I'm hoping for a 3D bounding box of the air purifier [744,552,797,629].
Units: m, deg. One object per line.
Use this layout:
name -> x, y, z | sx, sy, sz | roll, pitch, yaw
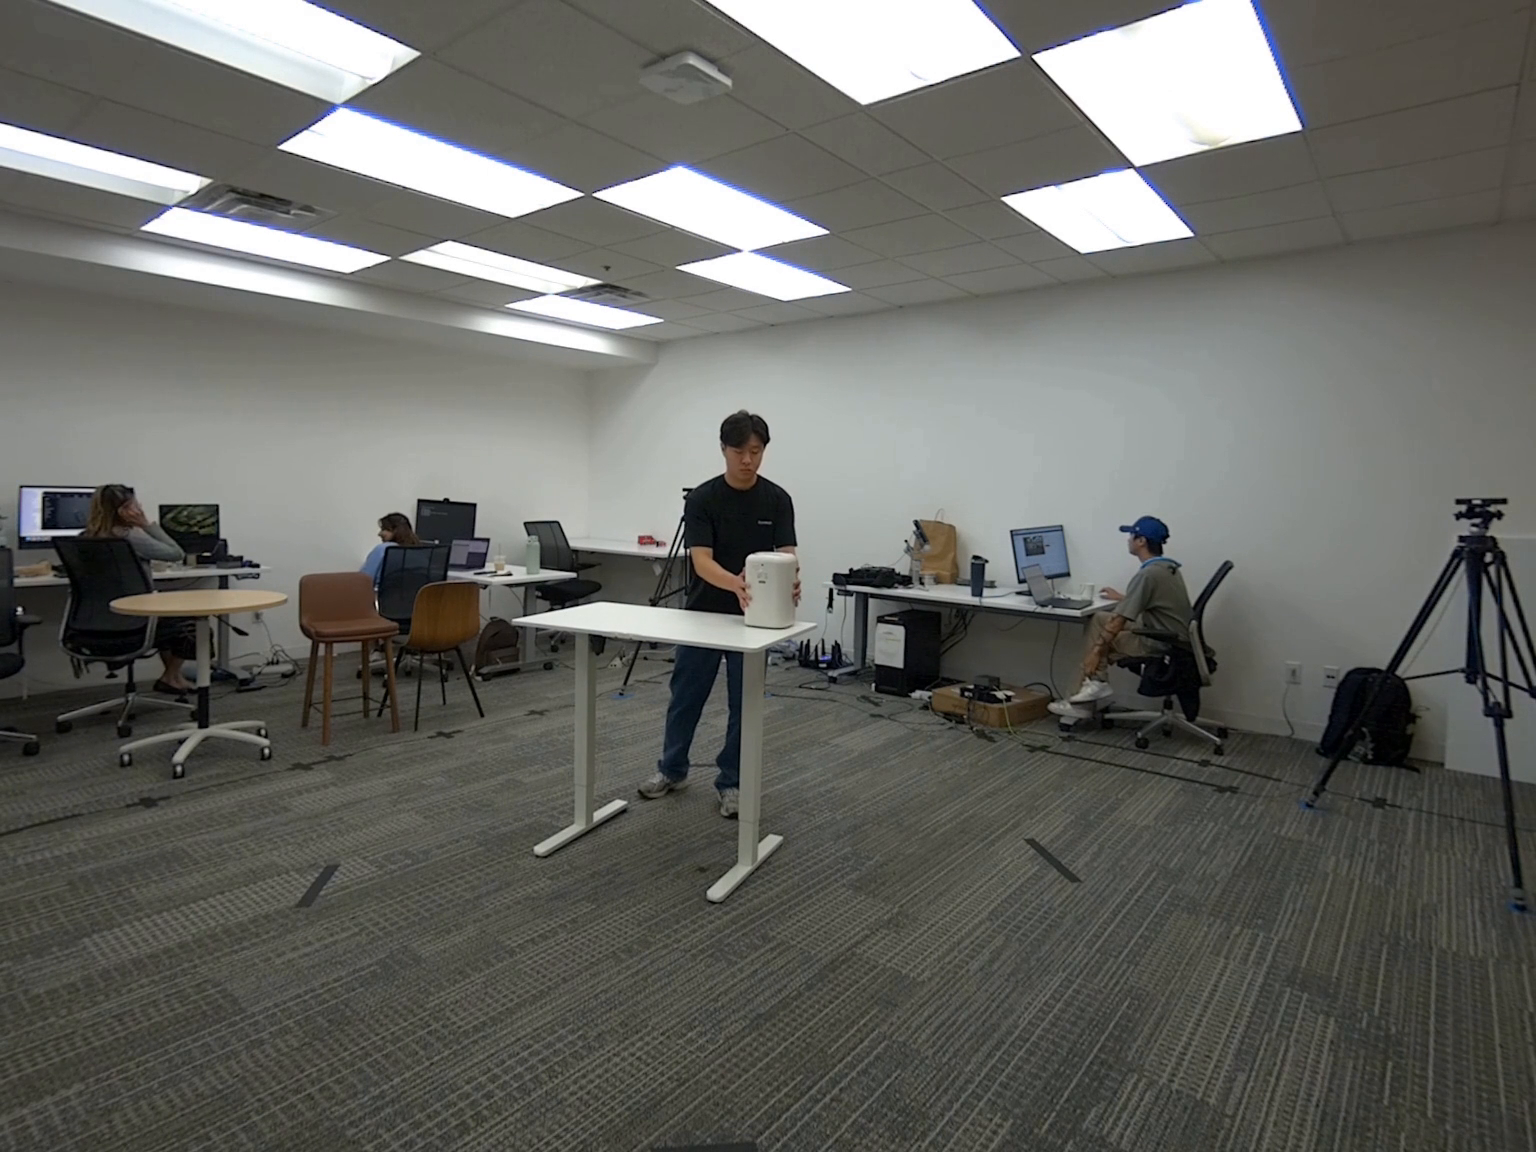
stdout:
air purifier -> -0.003, 0.042, 3.199 | 0.175, 0.264, 0.168 | 3, 5, 22
